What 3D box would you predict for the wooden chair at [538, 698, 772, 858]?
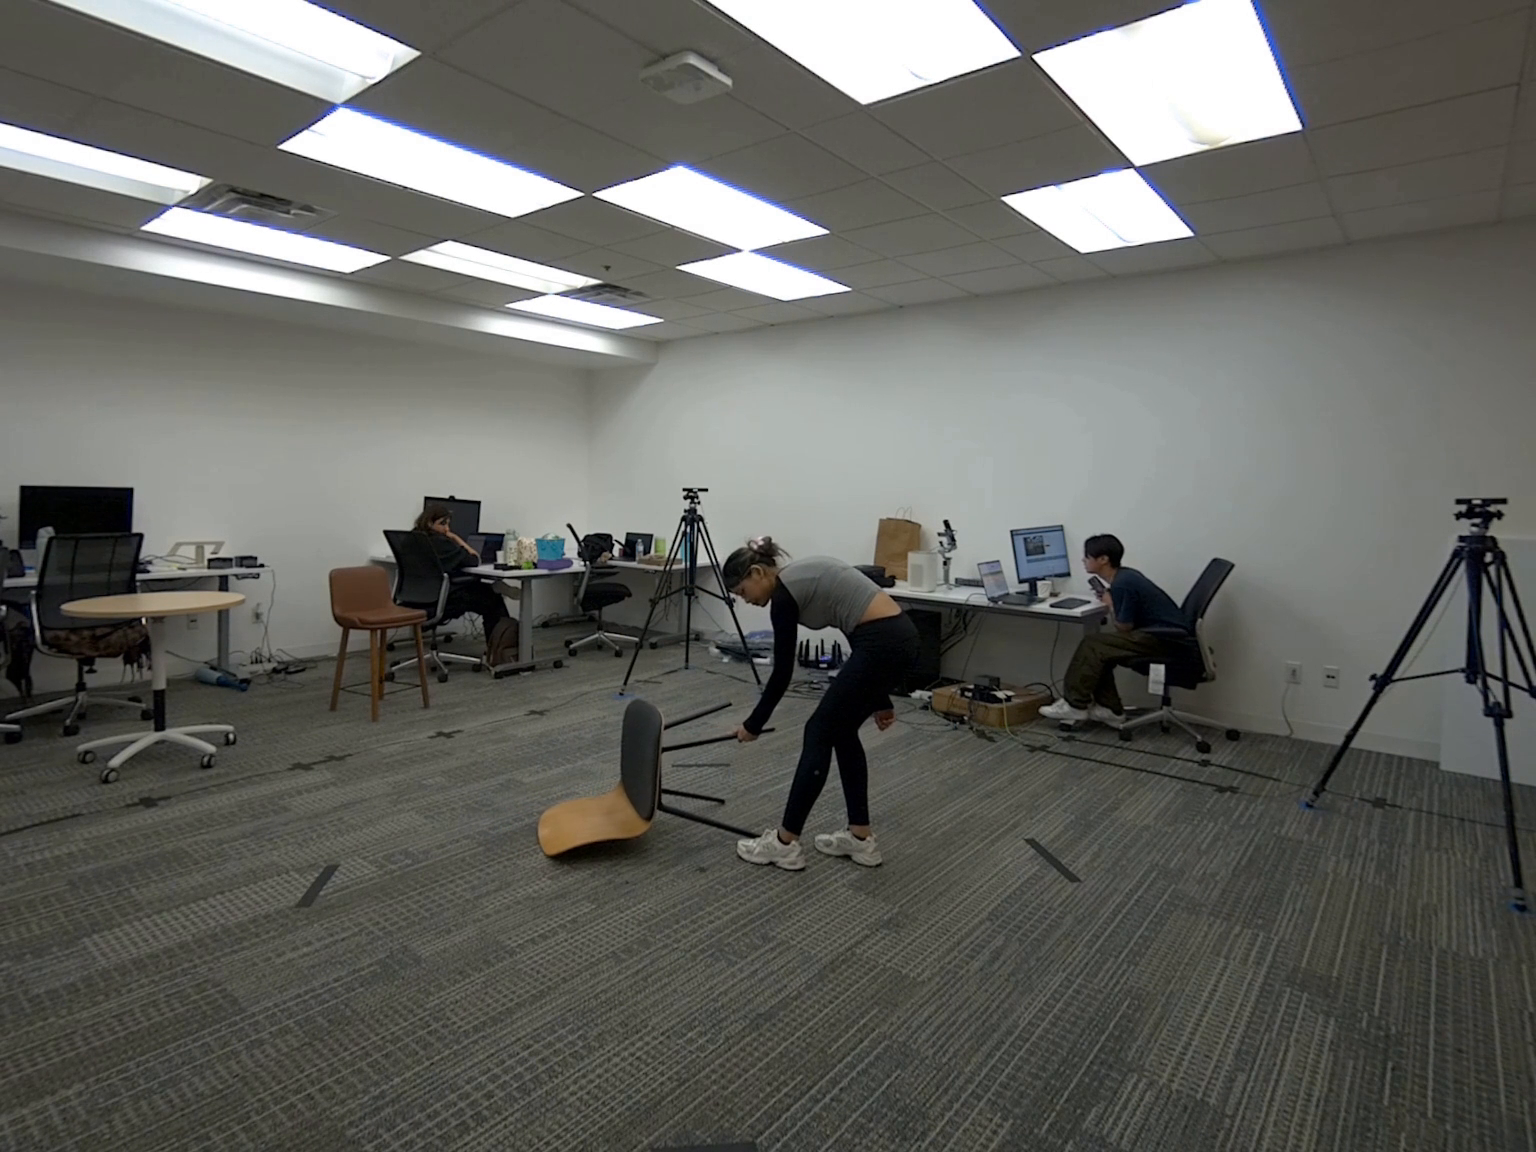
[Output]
[{"bbox_3d":[-0.487,0.772,3.409,0.859,0.521,0.490,-2,5,-22],"label":"wooden chair"}]
